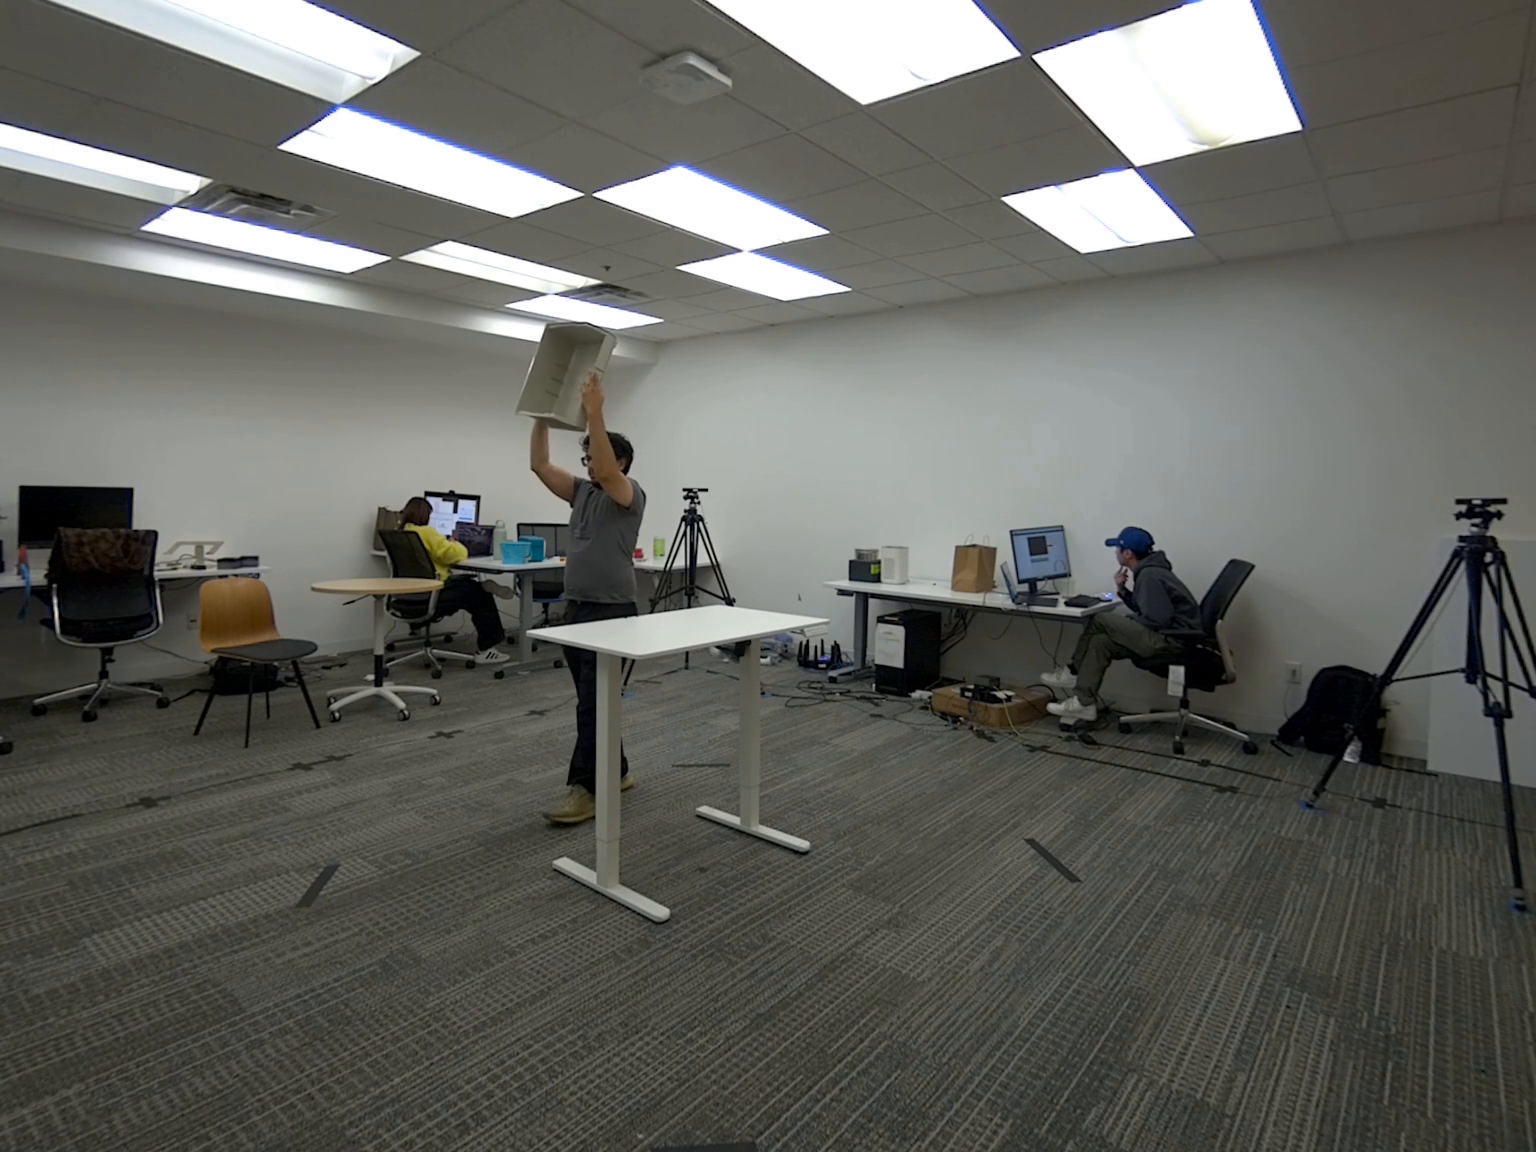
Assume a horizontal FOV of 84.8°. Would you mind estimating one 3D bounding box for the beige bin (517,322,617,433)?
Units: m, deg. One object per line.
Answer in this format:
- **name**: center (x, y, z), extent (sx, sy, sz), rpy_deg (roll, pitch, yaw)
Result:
- **beige bin**: center (-0.863, -0.854, 3.606), extent (0.181, 0.423, 0.392), rpy_deg (22, -5, -42)
